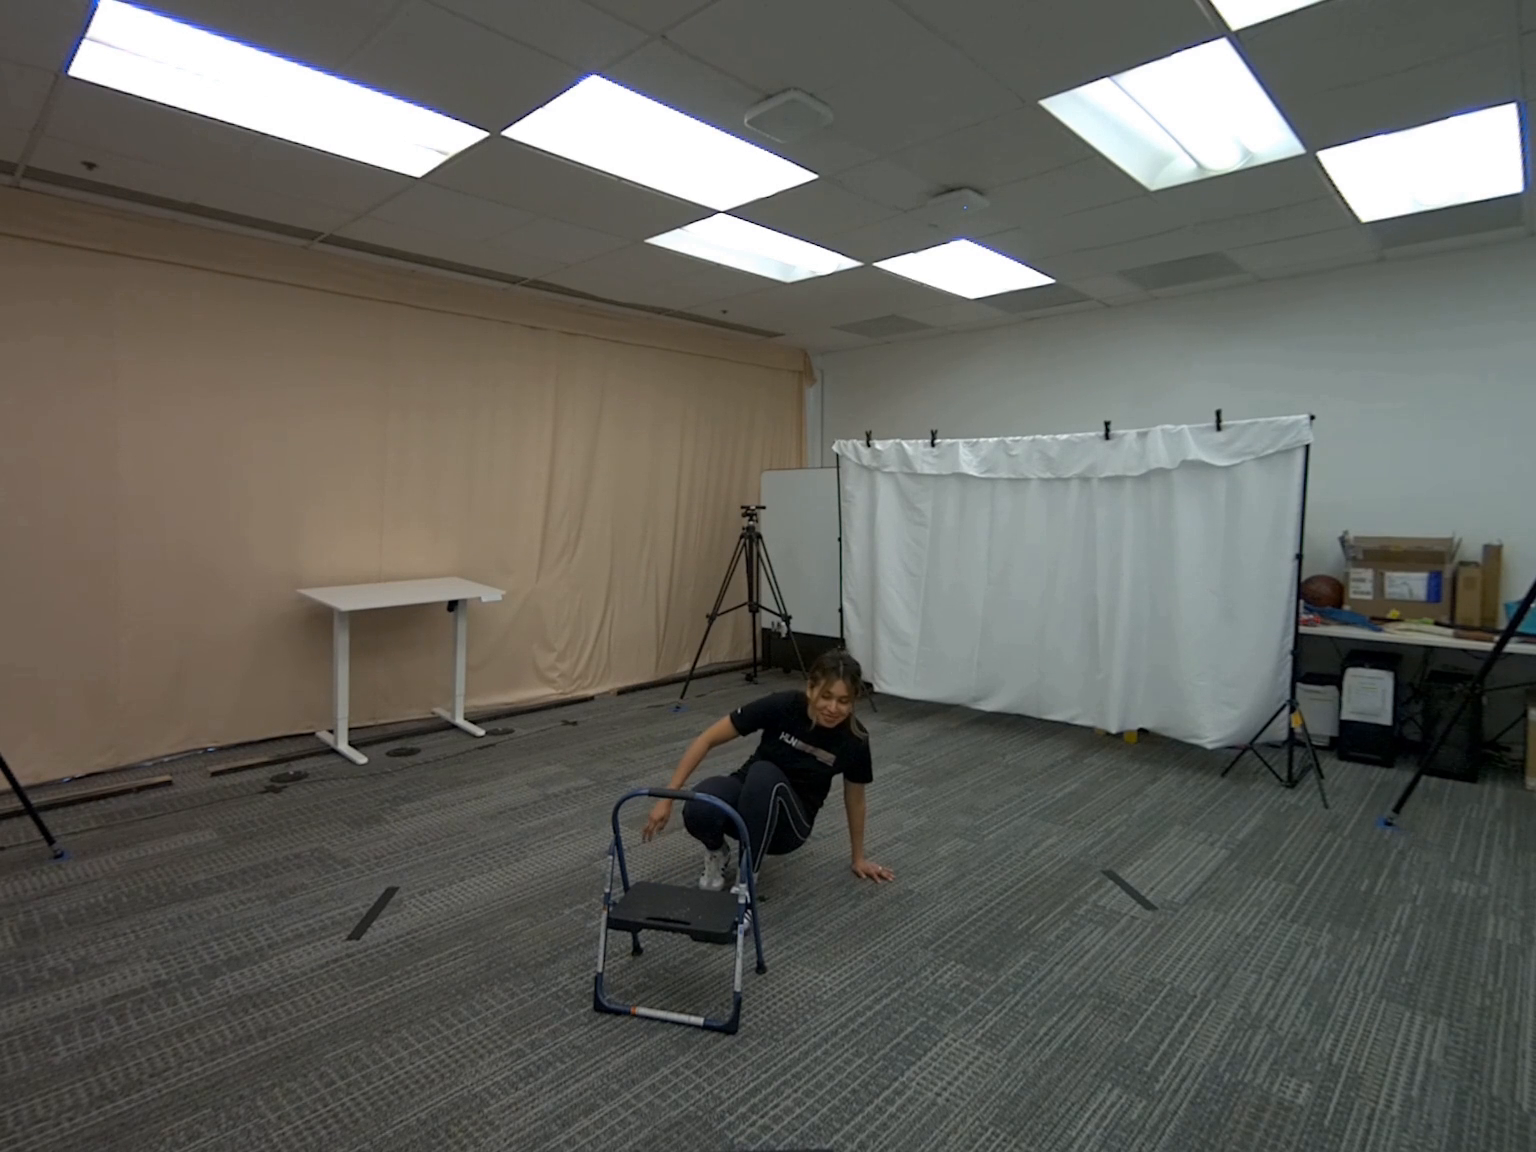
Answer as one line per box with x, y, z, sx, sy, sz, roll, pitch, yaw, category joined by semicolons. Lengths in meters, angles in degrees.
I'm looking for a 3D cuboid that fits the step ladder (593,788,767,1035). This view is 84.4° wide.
-0.251;0.887;2.416;0.437;0.605;0.344;1;3;14;step ladder
